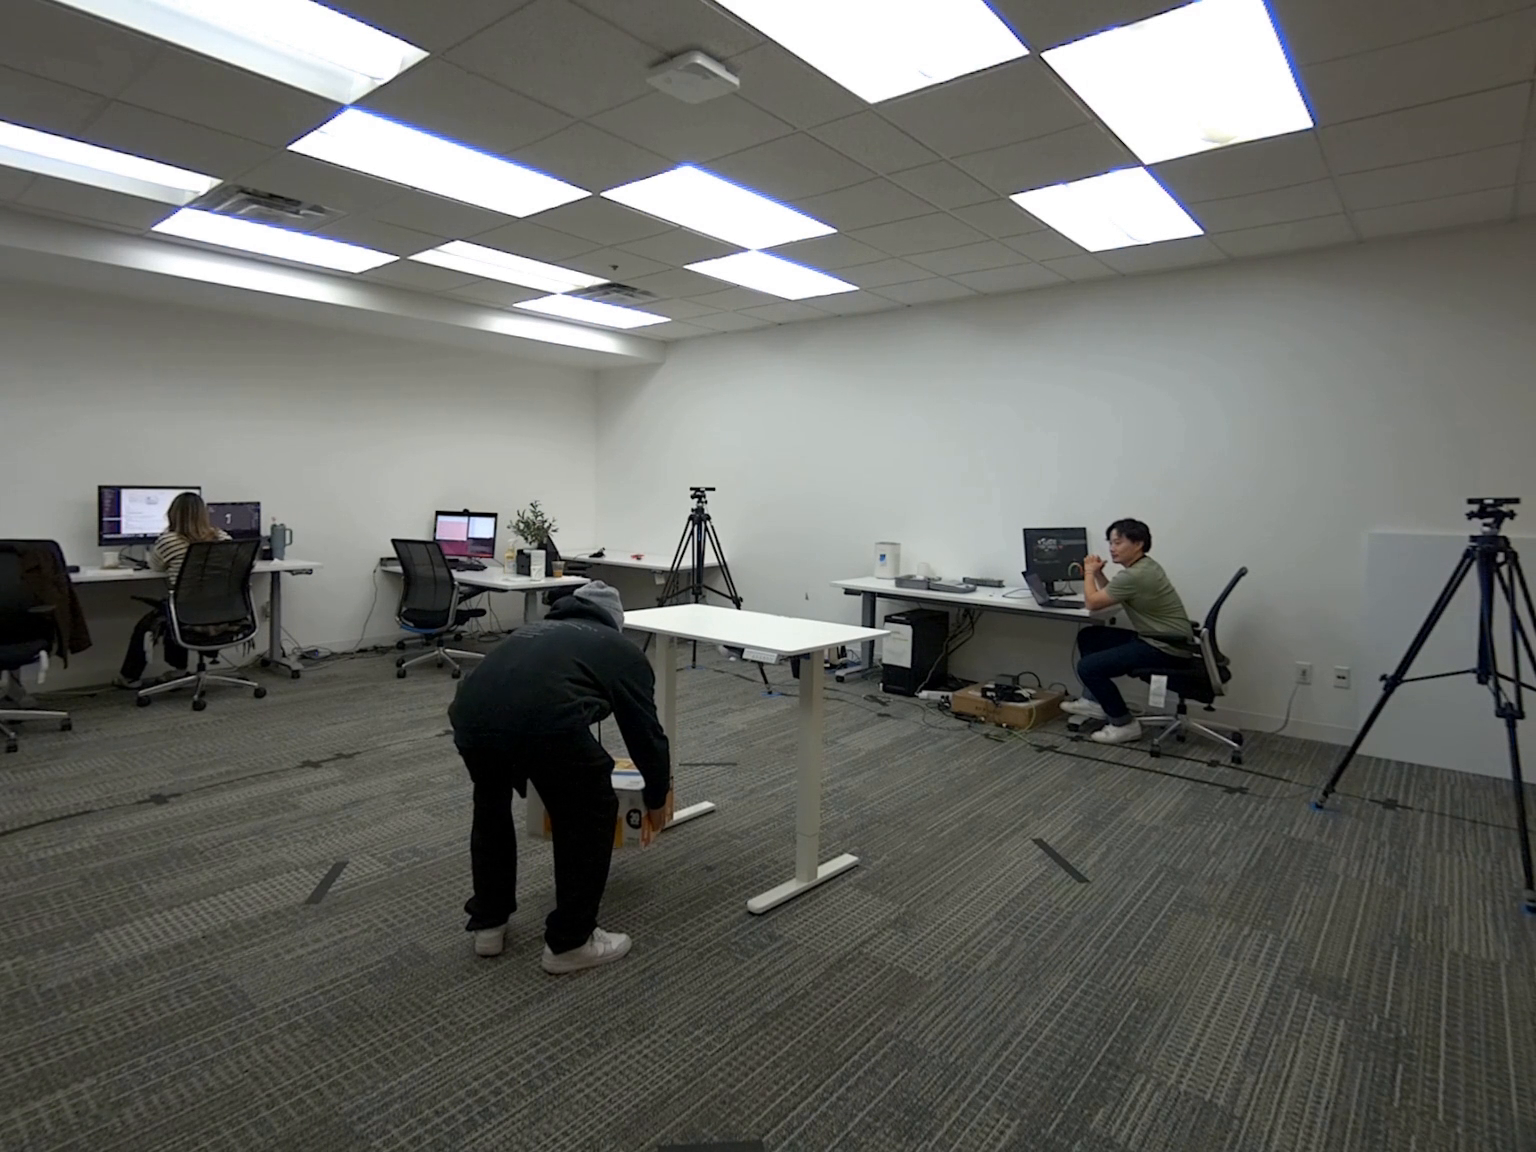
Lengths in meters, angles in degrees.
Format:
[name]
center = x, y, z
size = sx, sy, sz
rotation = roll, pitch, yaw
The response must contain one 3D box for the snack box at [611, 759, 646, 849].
[snack box]
center = -0.580, 0.768, 2.930
size = 0.411, 0.206, 0.335
rotation = 1, 1, 13
